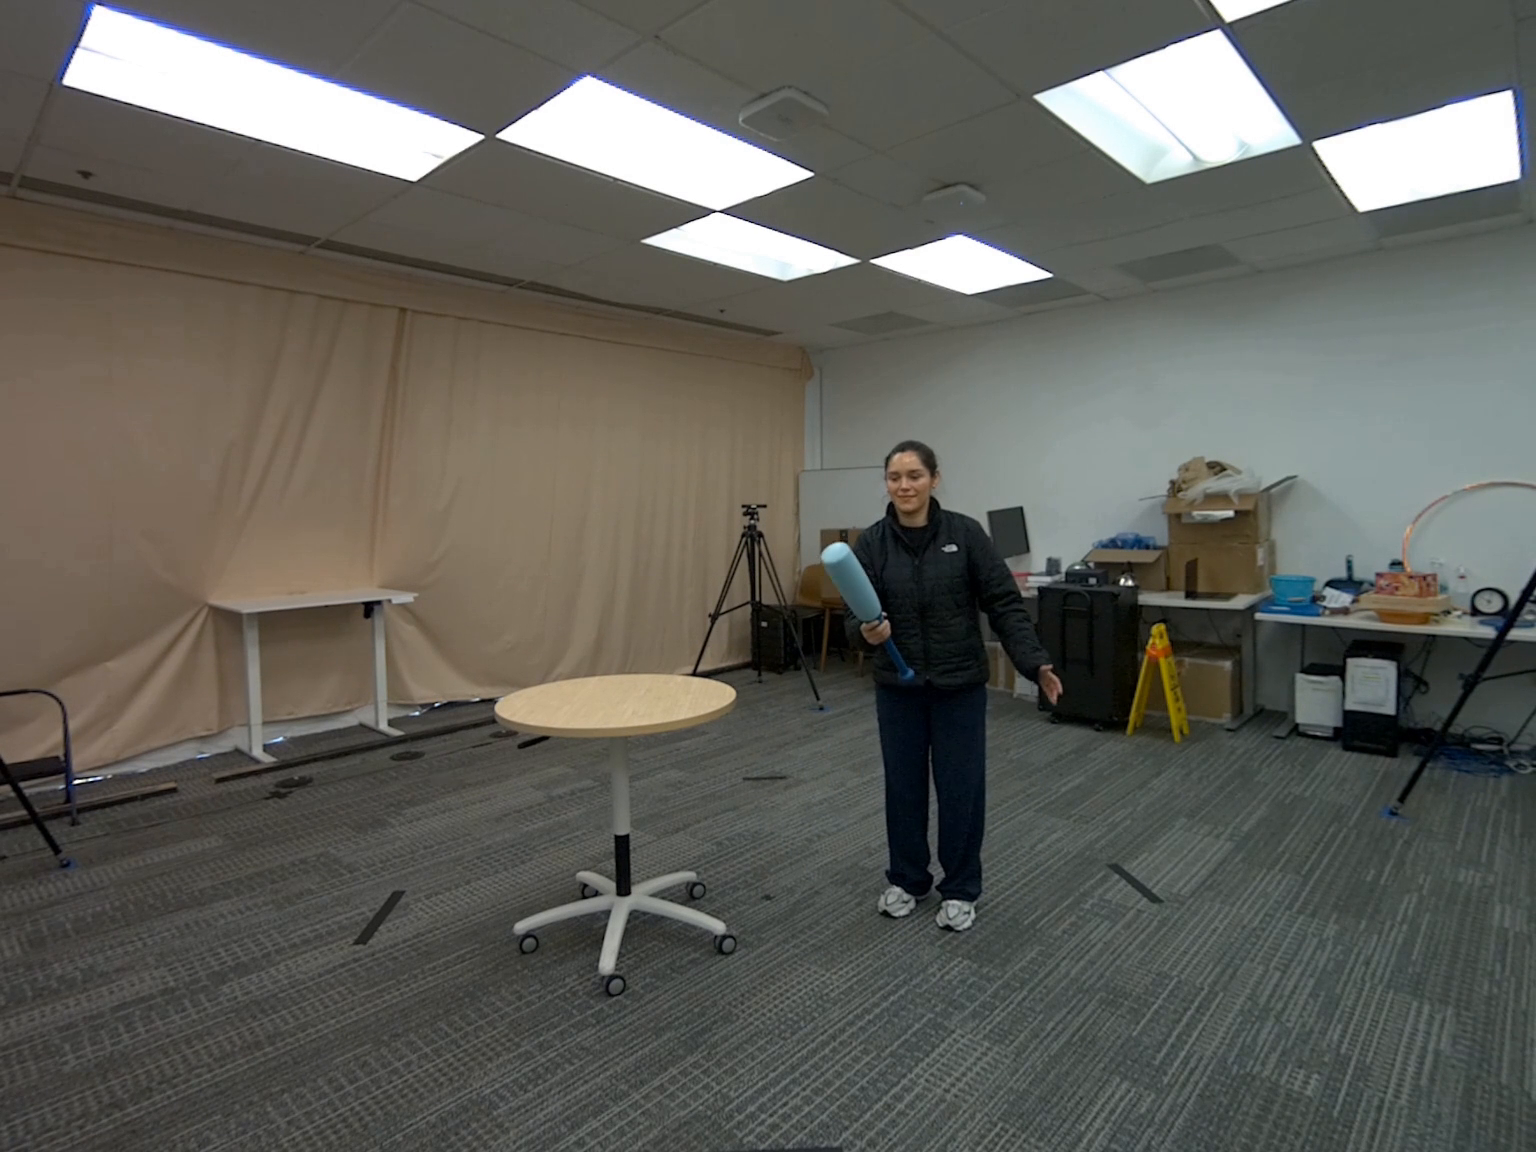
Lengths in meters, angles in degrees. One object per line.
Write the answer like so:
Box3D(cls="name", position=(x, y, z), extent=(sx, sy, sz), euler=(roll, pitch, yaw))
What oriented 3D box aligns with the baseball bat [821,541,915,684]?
Box3D(cls="baseball bat", position=(0.312, 0.133, 2.388), extent=(0.090, 0.528, 0.090), euler=(-25, 31, 15))
